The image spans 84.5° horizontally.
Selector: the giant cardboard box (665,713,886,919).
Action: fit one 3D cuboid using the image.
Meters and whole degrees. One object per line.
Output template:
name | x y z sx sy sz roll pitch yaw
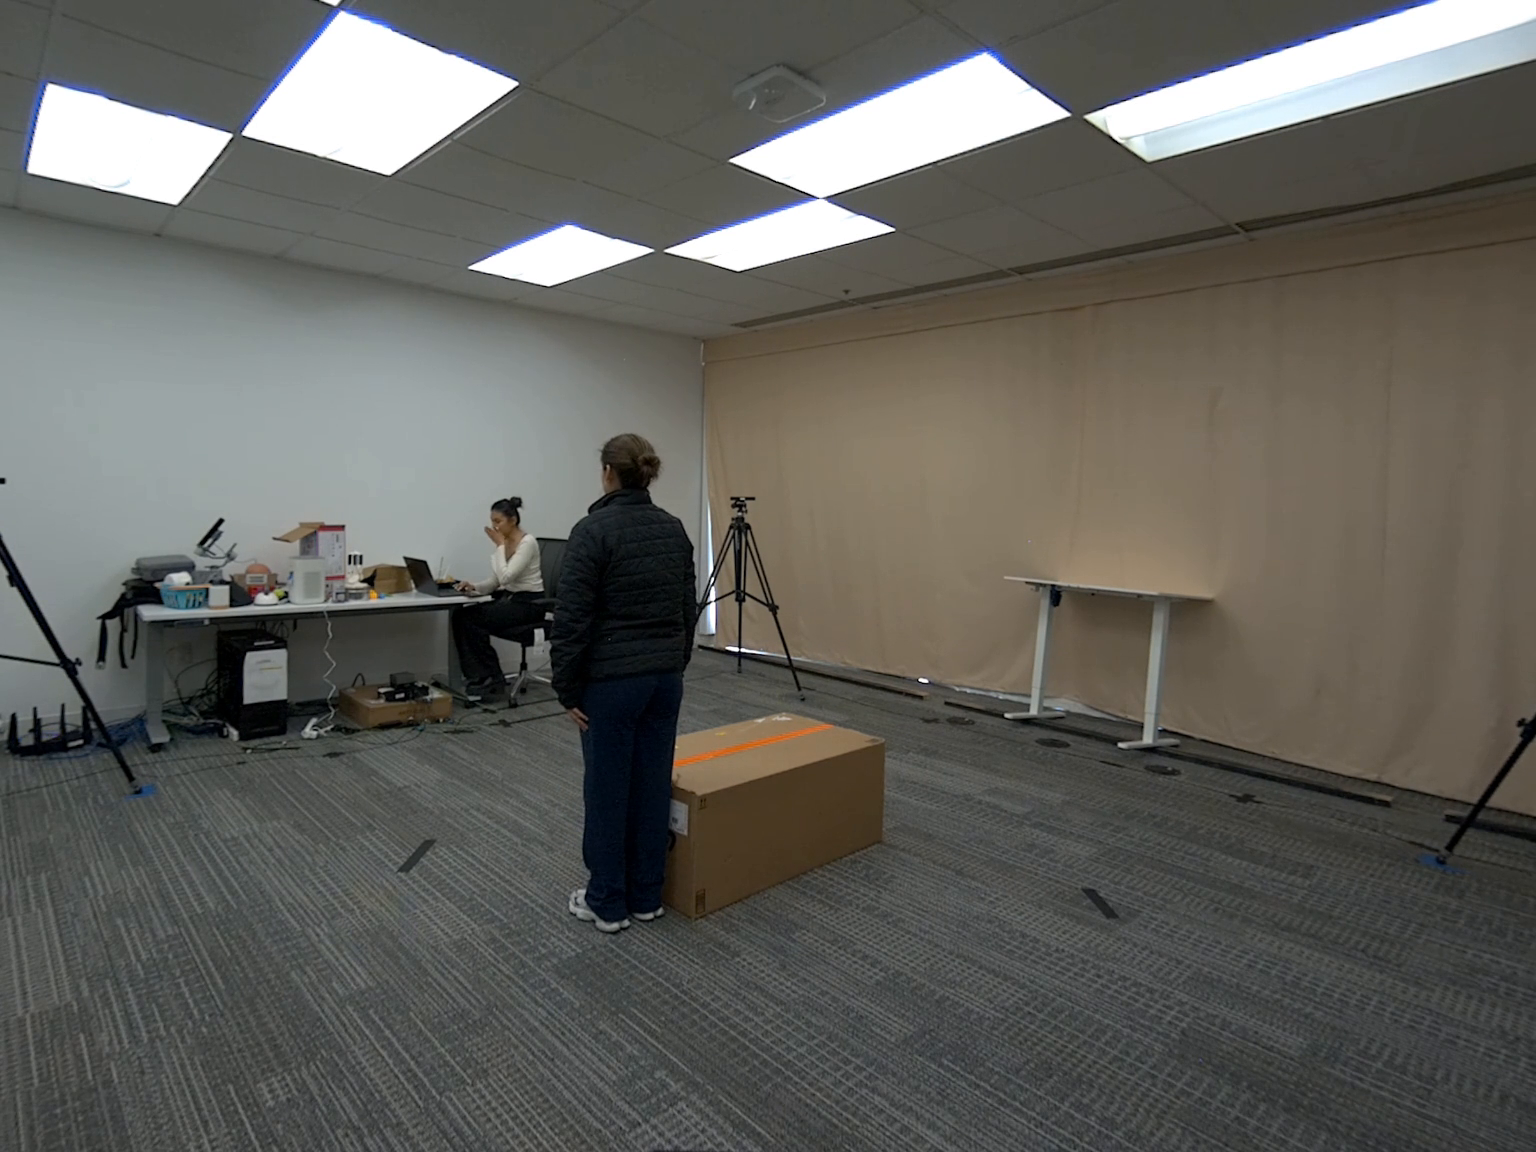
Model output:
giant cardboard box | -0.090 0.882 3.295 1.003 0.445 0.599 -2 7 -45
